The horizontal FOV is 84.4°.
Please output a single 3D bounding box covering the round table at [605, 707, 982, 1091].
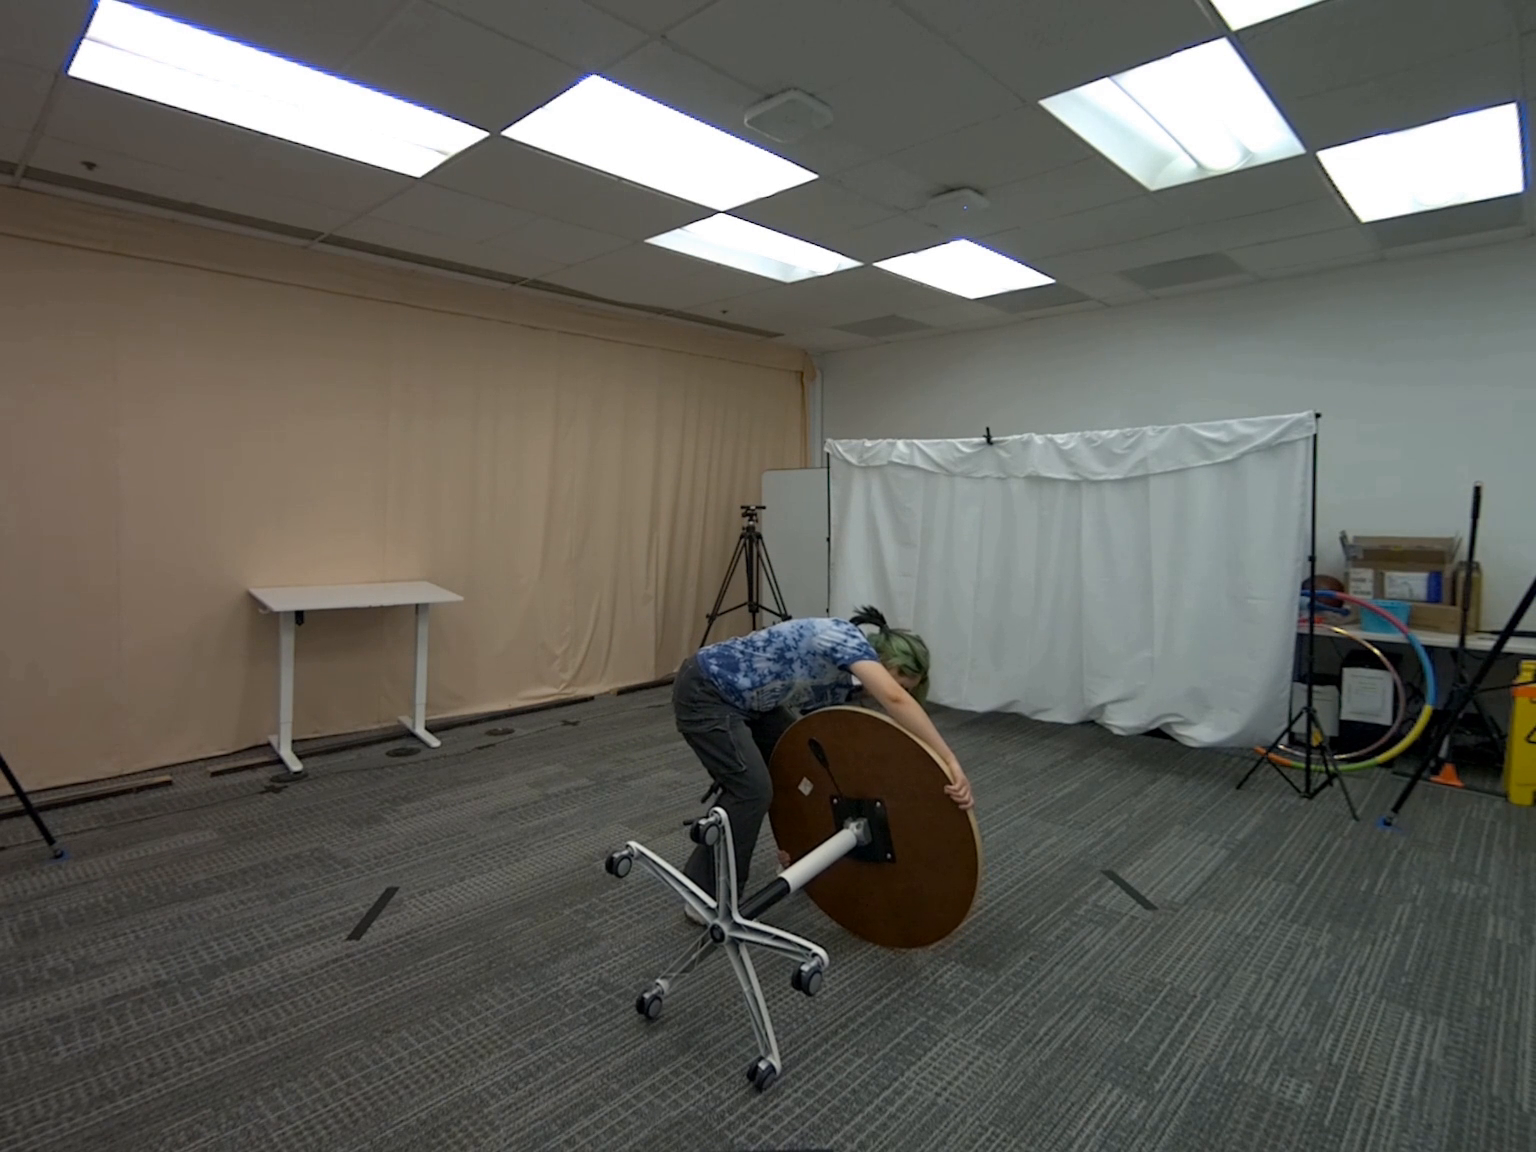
[{"bbox_3d":[0.073,0.847,2.362,0.789,0.759,0.773,3,11,40],"label":"round table"}]
